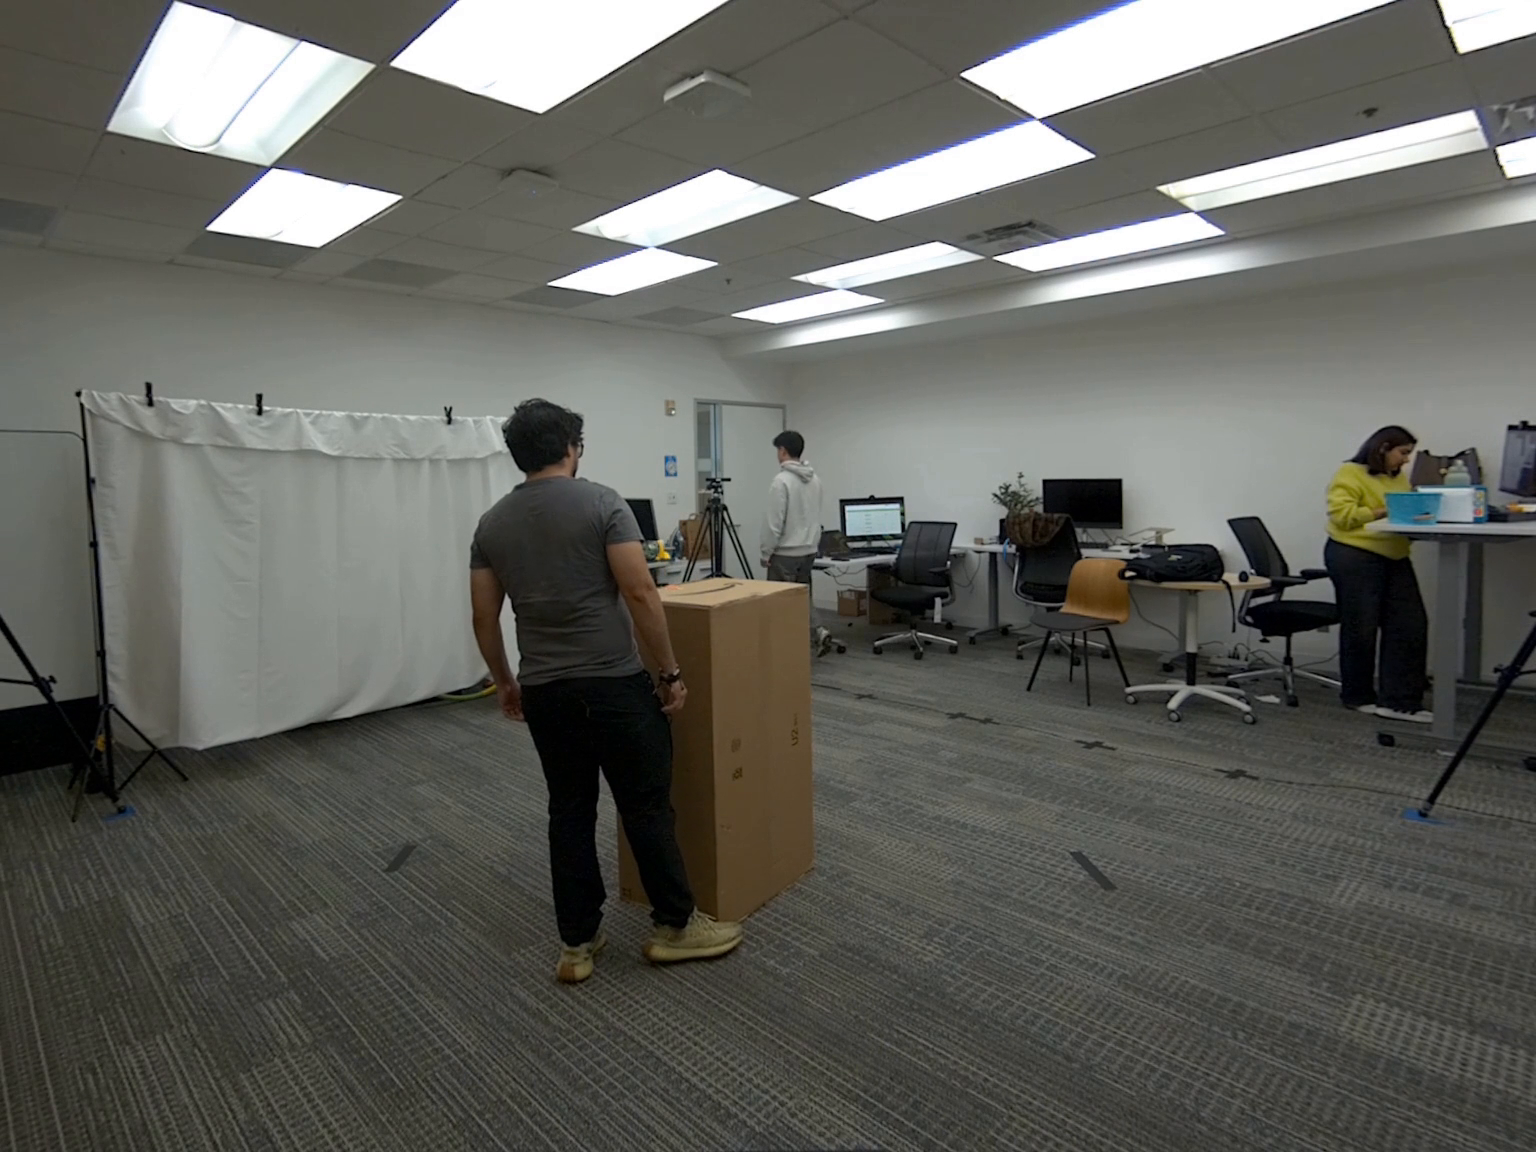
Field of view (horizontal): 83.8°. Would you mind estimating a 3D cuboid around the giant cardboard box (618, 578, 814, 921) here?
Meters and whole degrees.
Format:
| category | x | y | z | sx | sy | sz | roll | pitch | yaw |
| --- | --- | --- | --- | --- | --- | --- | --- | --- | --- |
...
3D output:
| category | x | y | z | sx | sy | sz | roll | pitch | yaw |
| --- | --- | --- | --- | --- | --- | --- | --- | --- | --- |
| giant cardboard box | -0.175 | 0.560 | 2.928 | 0.460 | 1.023 | 0.570 | 3 | 6 | 34 |
